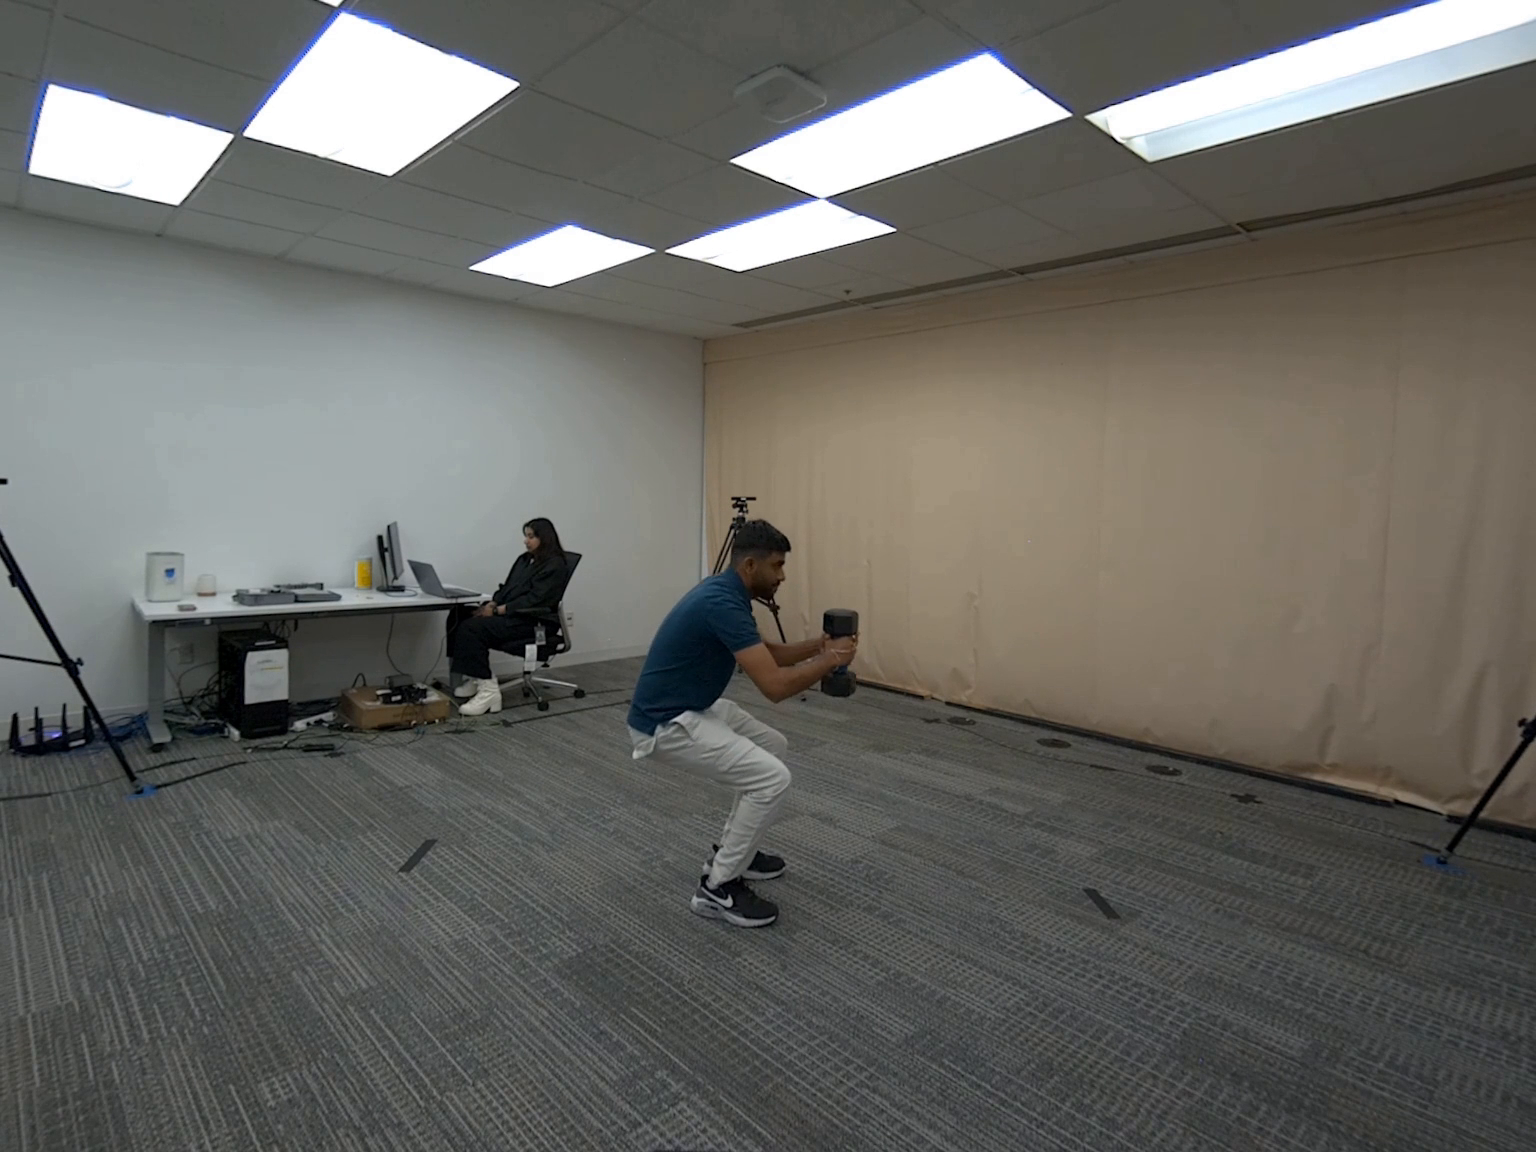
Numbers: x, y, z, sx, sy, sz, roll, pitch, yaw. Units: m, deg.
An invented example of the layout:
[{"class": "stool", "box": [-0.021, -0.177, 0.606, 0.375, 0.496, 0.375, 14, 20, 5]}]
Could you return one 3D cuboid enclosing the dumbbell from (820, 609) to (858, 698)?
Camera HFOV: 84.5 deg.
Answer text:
[{"class": "dumbbell", "box": [0.238, 0.259, 2.895, 0.122, 0.293, 0.109, 1, 1, -4]}]
